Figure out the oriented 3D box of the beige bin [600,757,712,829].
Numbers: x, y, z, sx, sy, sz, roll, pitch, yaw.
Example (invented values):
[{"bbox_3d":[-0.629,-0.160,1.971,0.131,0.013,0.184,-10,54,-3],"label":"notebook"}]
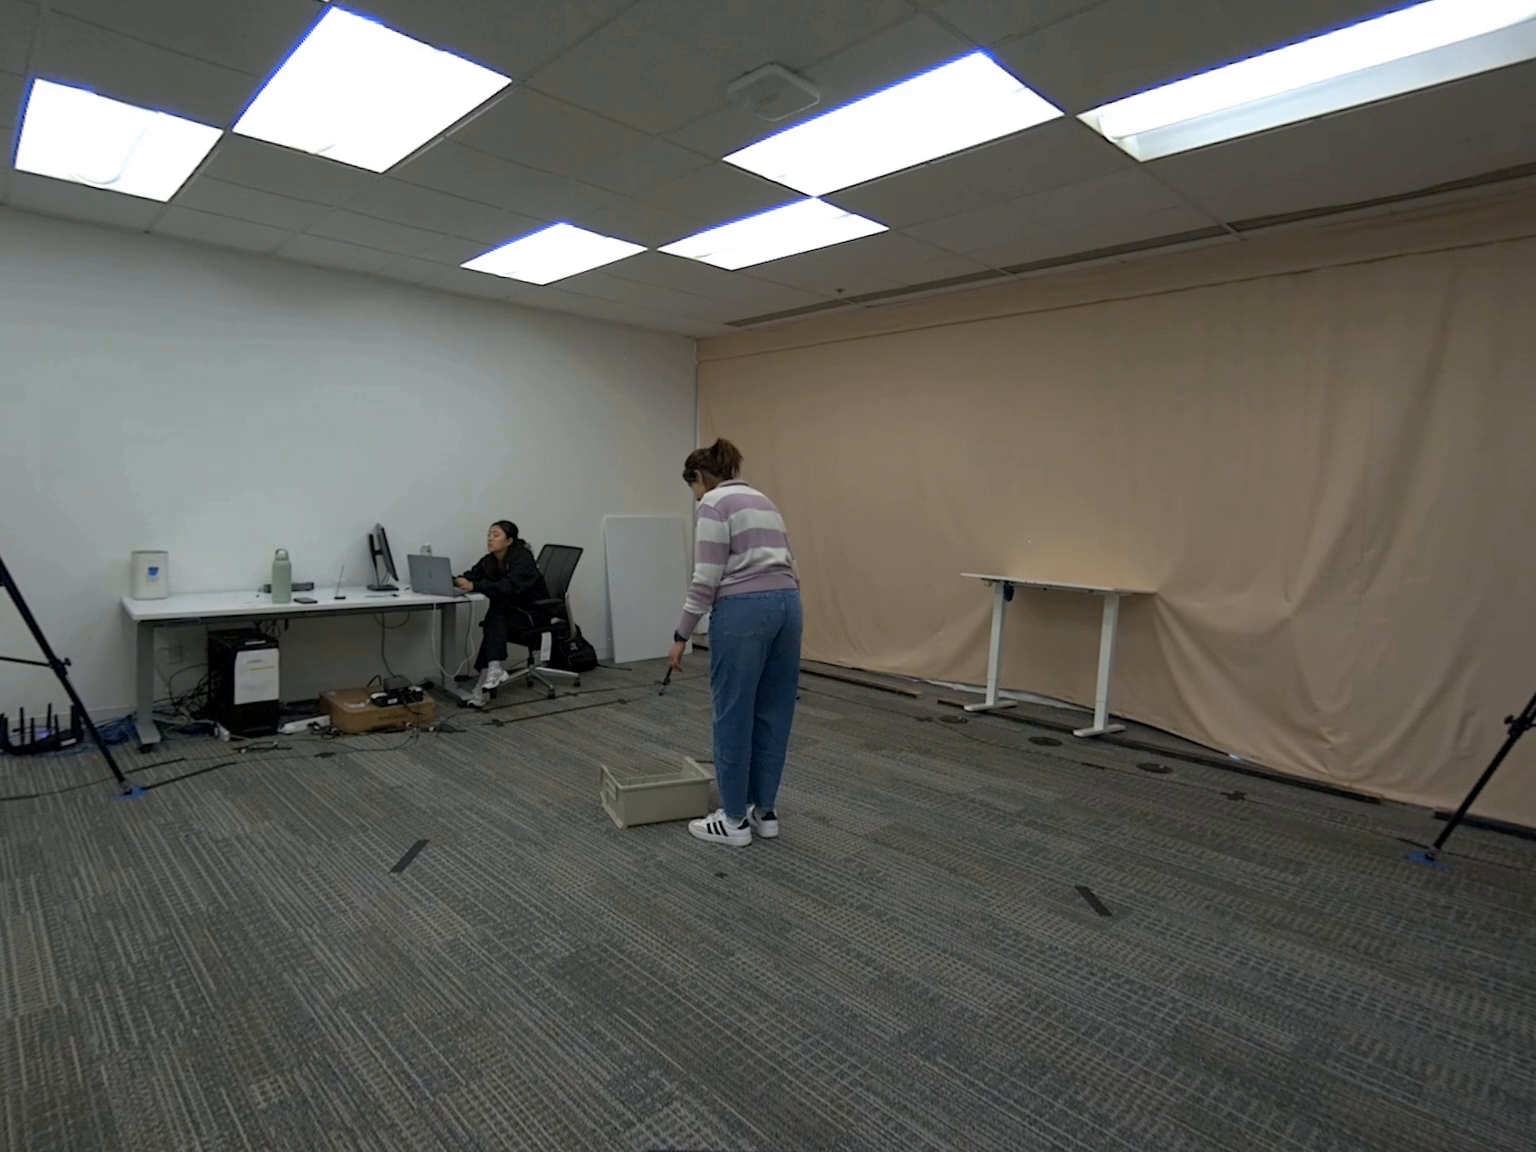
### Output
[{"bbox_3d":[-0.512,0.950,3.747,0.415,0.188,0.385,0,6,-25],"label":"beige bin"}]
